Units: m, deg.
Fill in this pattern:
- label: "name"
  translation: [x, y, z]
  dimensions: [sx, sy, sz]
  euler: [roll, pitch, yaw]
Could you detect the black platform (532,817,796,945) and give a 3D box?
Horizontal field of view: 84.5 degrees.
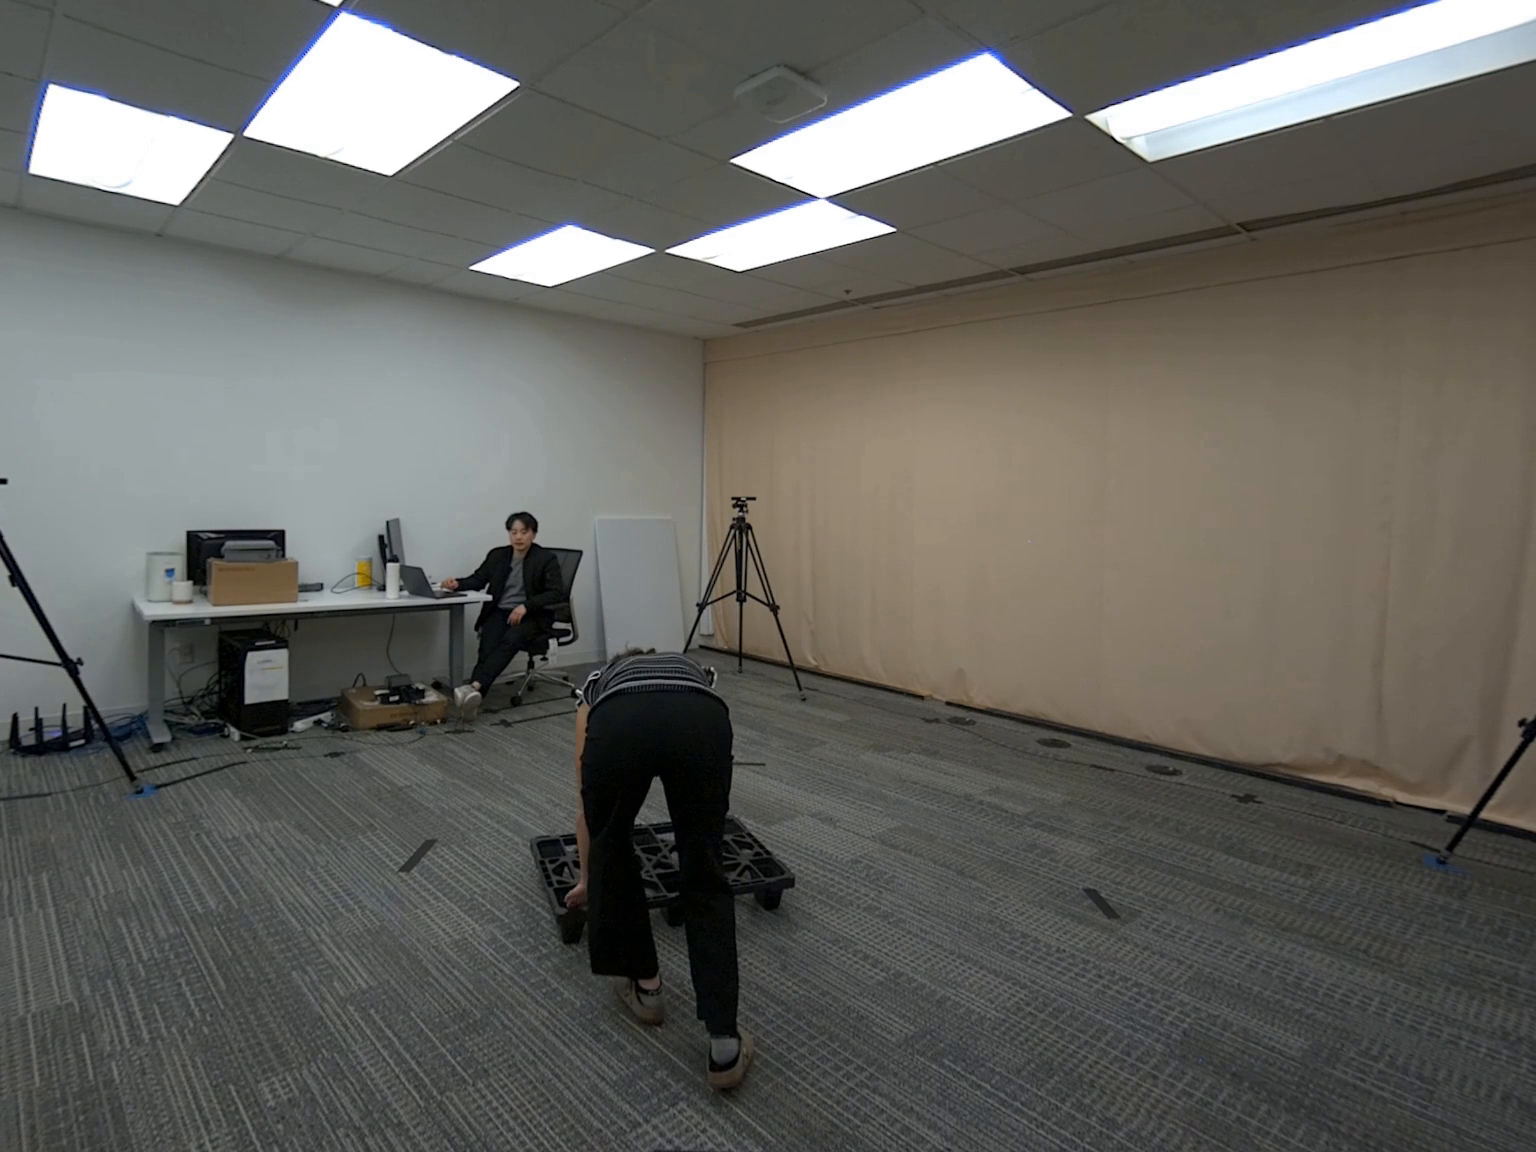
- label: "black platform"
  translation: [-0.398, 1.049, 2.948]
  dimensions: [0.792, 0.143, 0.616]
  euler: [0, 5, -22]
